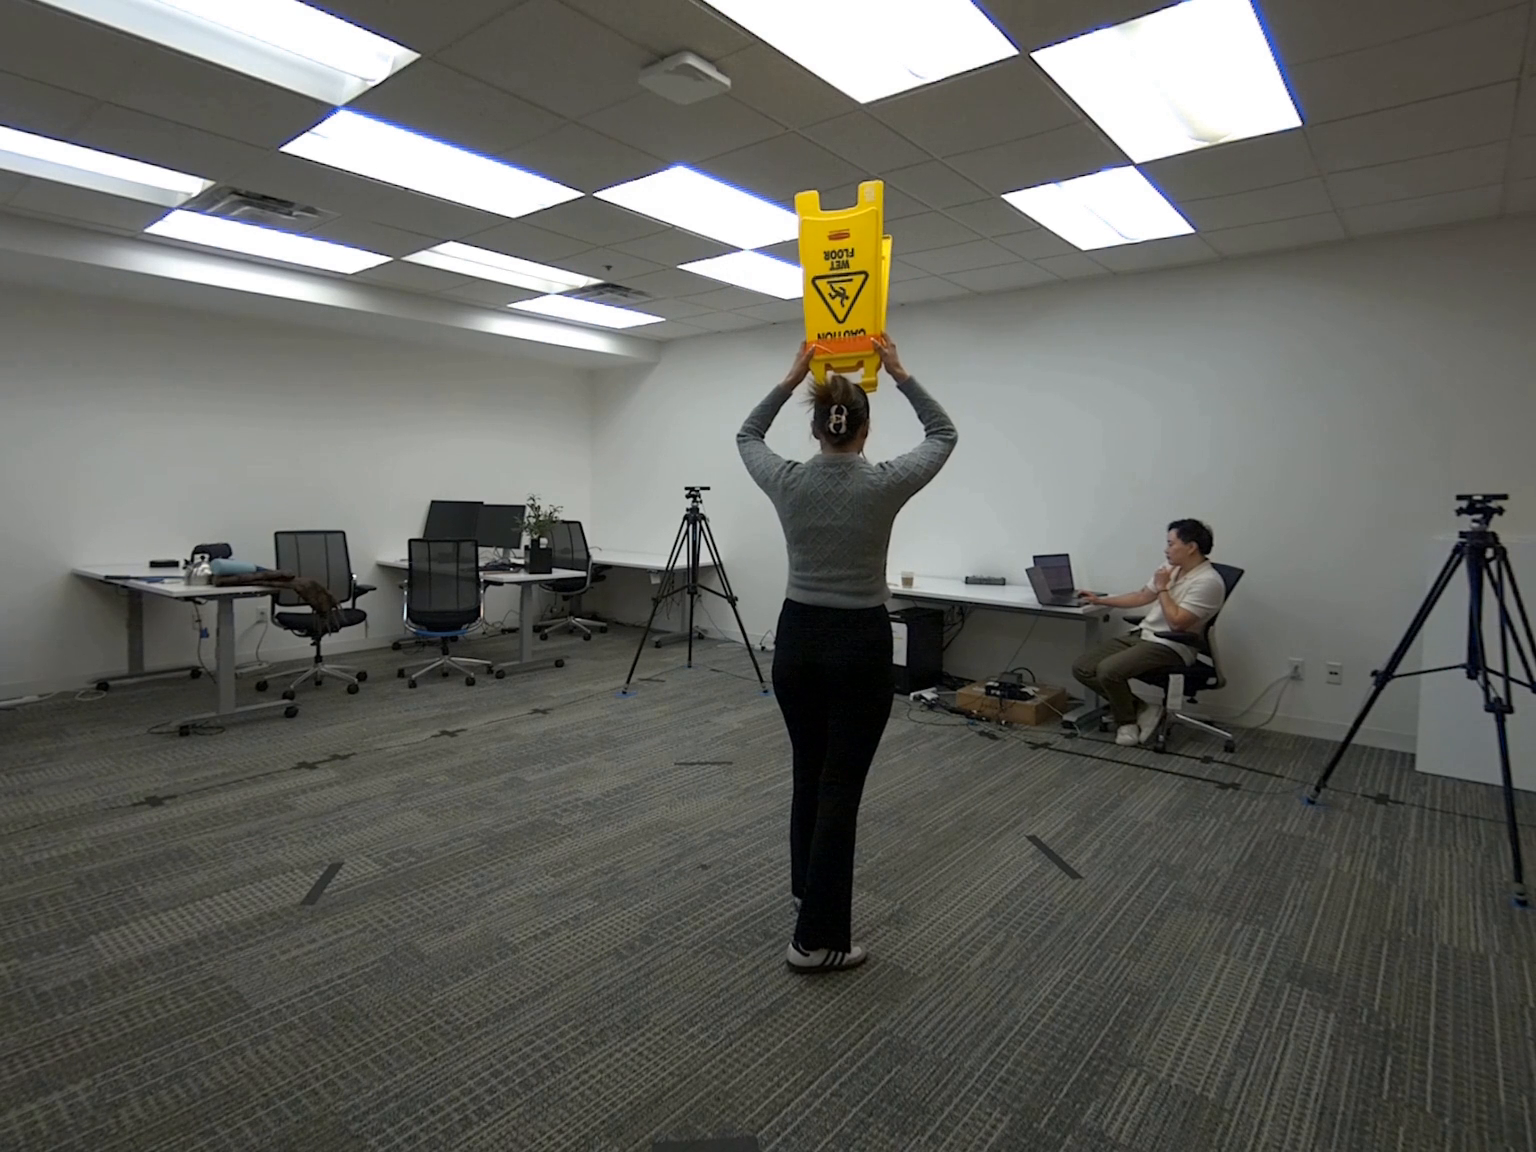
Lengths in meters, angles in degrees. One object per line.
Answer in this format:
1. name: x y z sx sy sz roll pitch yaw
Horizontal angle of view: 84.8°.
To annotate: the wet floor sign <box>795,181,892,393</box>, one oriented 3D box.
1. wet floor sign: 0.237 -0.878 2.718 0.287 0.656 0.281 -3 -17 16
